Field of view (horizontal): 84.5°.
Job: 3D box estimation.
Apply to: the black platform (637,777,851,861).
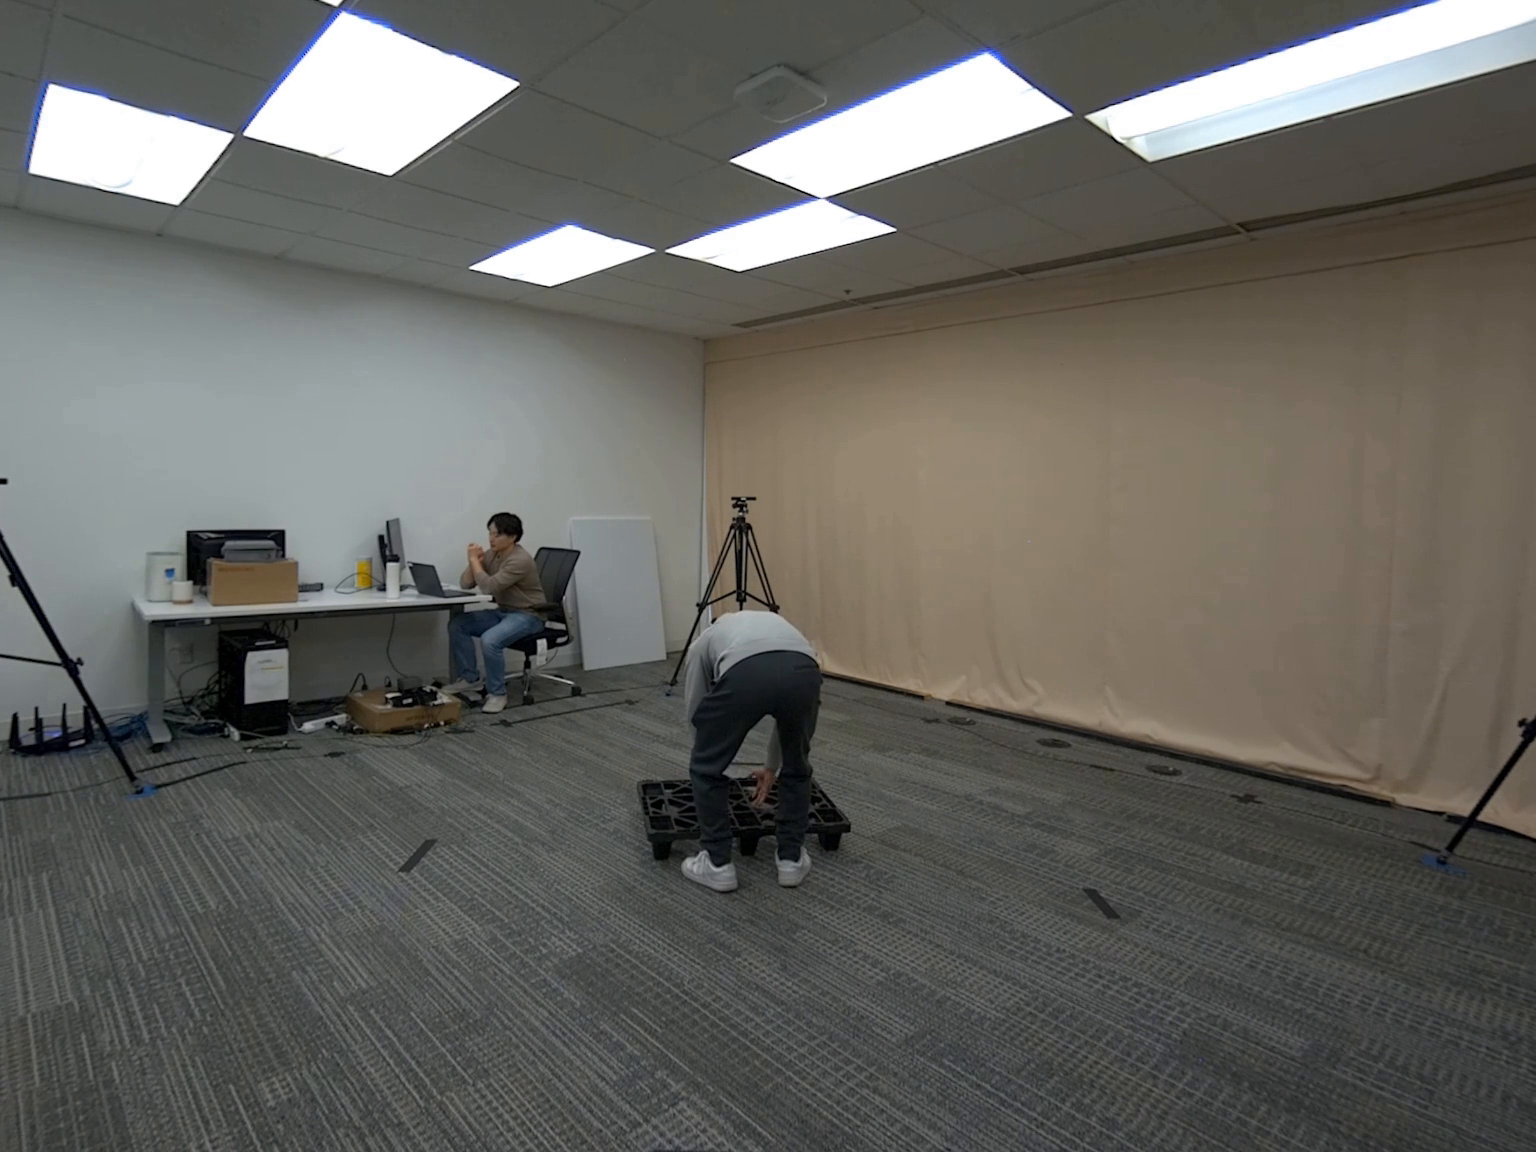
[{"bbox_3d":[-0.136,1.002,3.517,0.799,0.143,0.612,1,4,-11],"label":"black platform"}]
